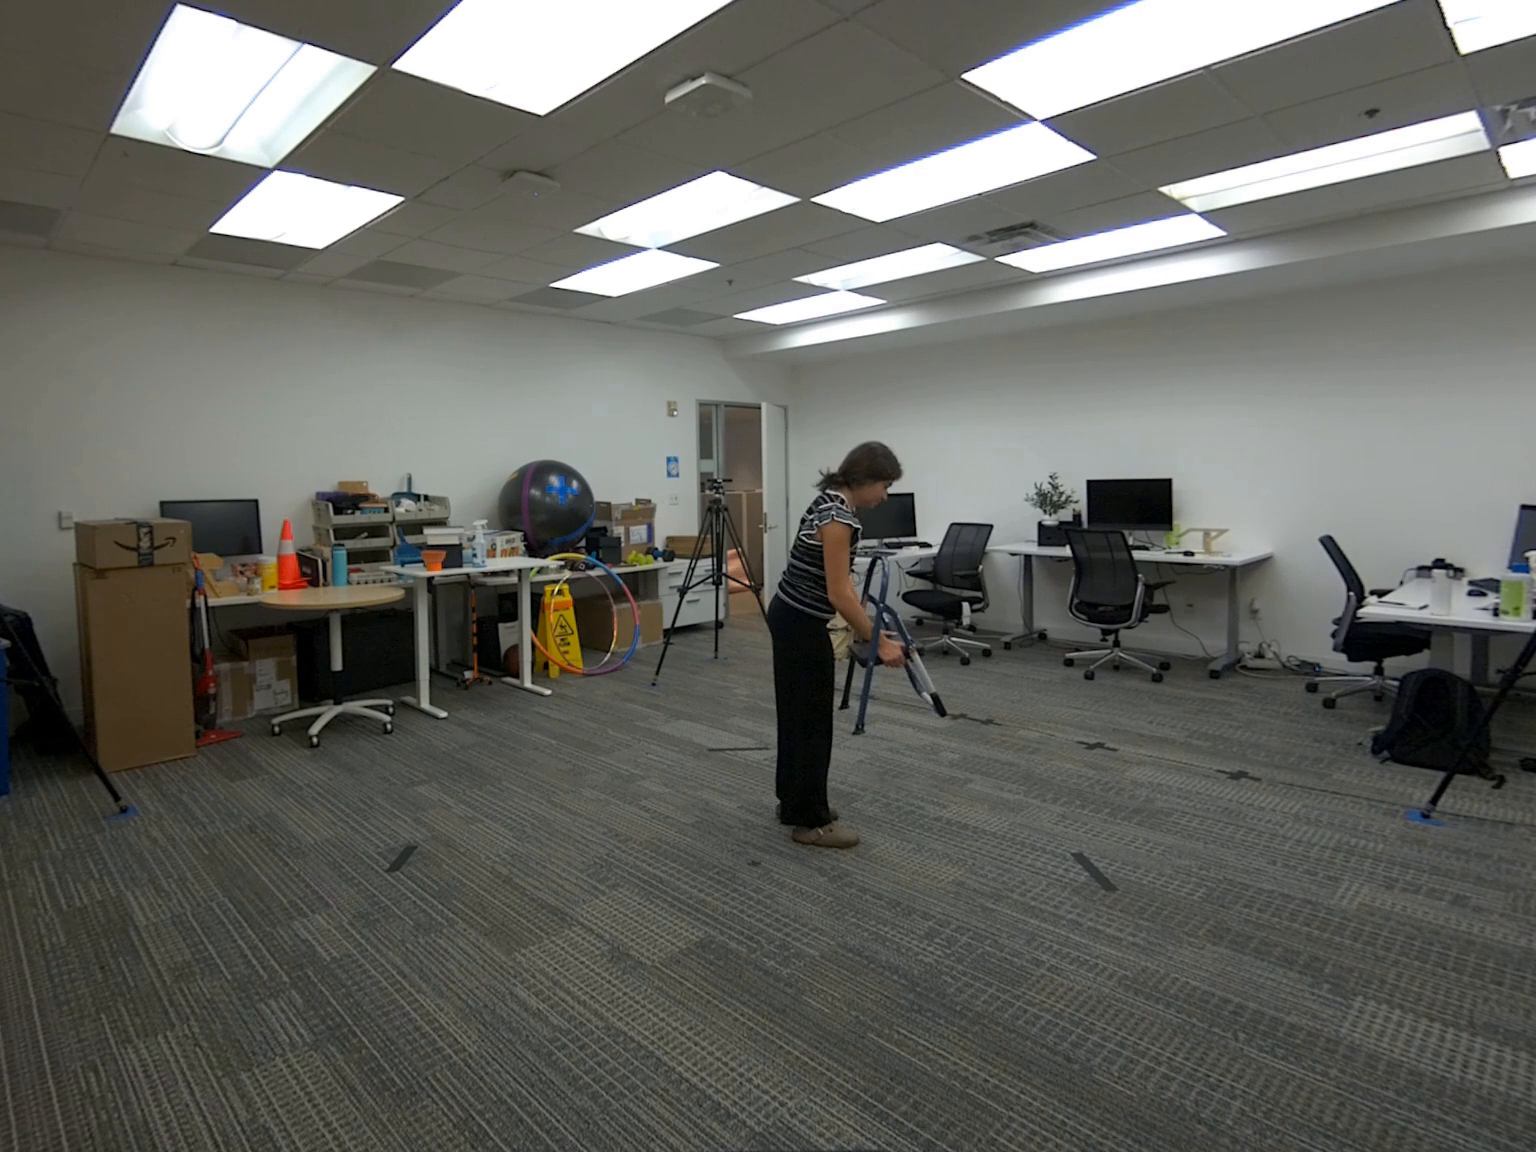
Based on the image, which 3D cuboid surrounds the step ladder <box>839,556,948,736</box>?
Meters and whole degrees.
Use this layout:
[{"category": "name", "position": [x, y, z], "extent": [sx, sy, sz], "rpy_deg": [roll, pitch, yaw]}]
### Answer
[{"category": "step ladder", "position": [0.412, 0.243, 3.290], "extent": [0.349, 0.604, 0.432], "rpy_deg": [-11, 3, -2]}]
